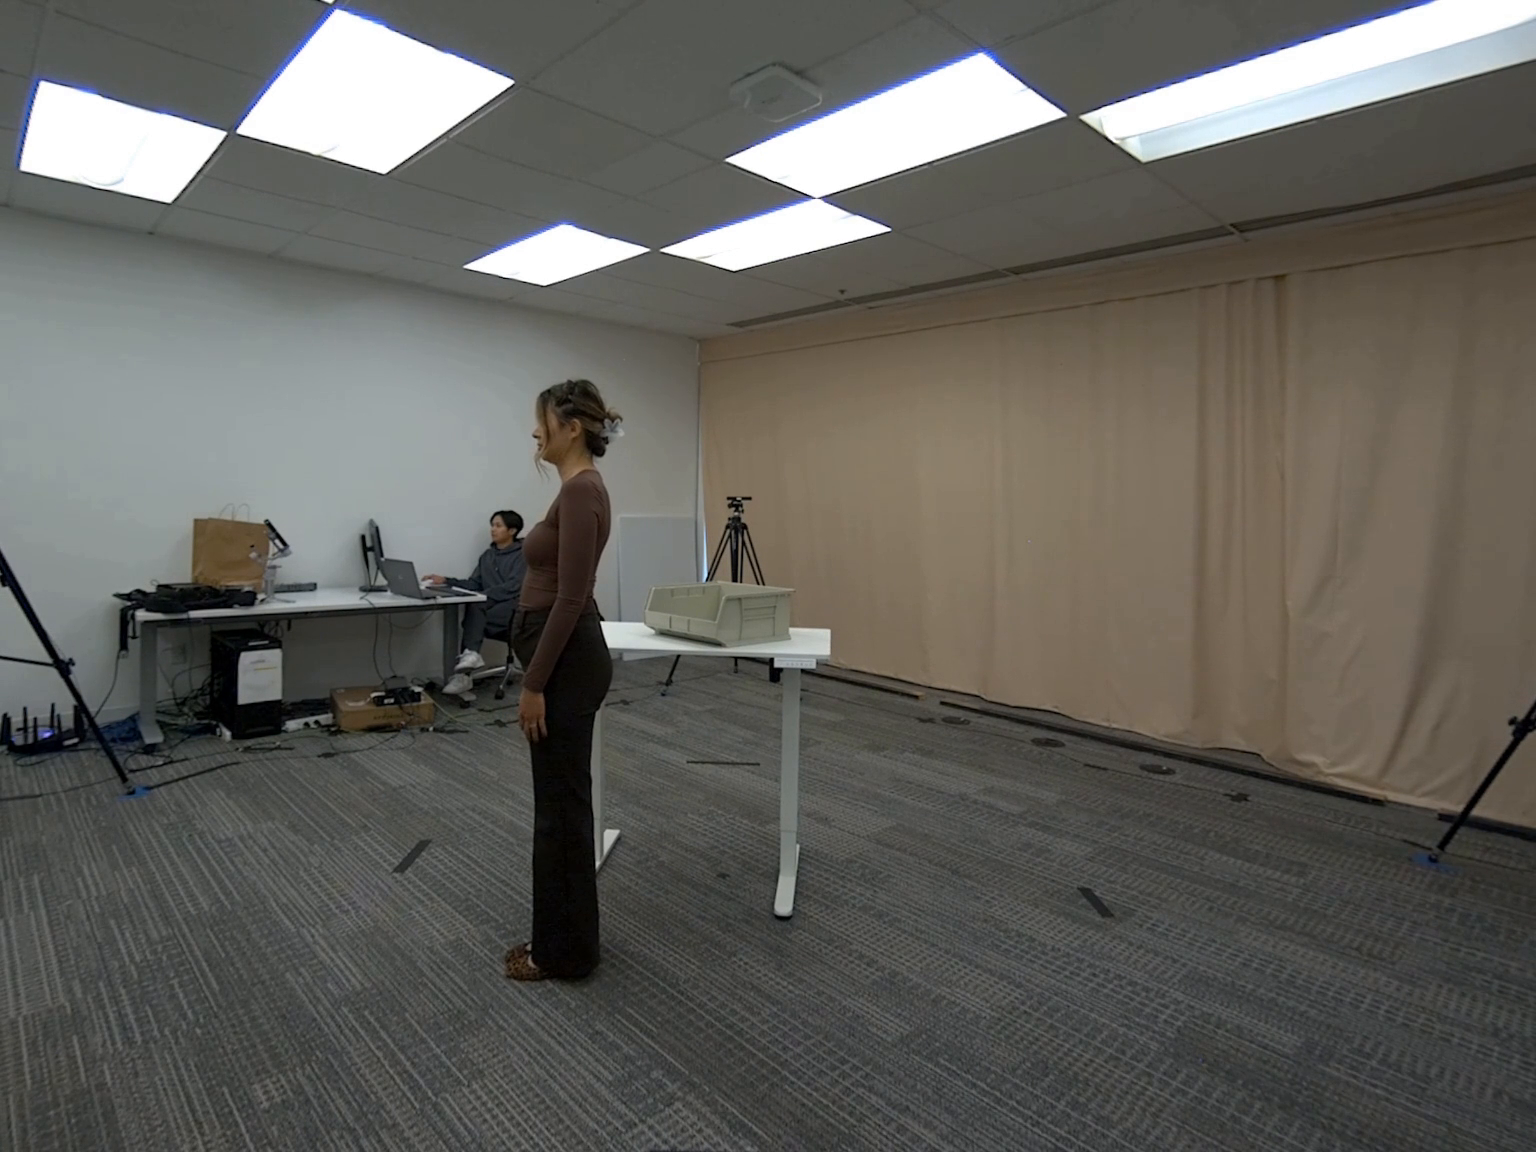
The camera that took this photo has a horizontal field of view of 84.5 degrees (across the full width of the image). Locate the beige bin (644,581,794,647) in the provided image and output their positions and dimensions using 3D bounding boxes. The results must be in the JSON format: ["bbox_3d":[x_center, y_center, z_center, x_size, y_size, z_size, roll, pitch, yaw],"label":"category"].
[{"bbox_3d":[-0.187,0.136,3.068,0.368,0.189,0.433,-1,4,-44],"label":"beige bin"}]
